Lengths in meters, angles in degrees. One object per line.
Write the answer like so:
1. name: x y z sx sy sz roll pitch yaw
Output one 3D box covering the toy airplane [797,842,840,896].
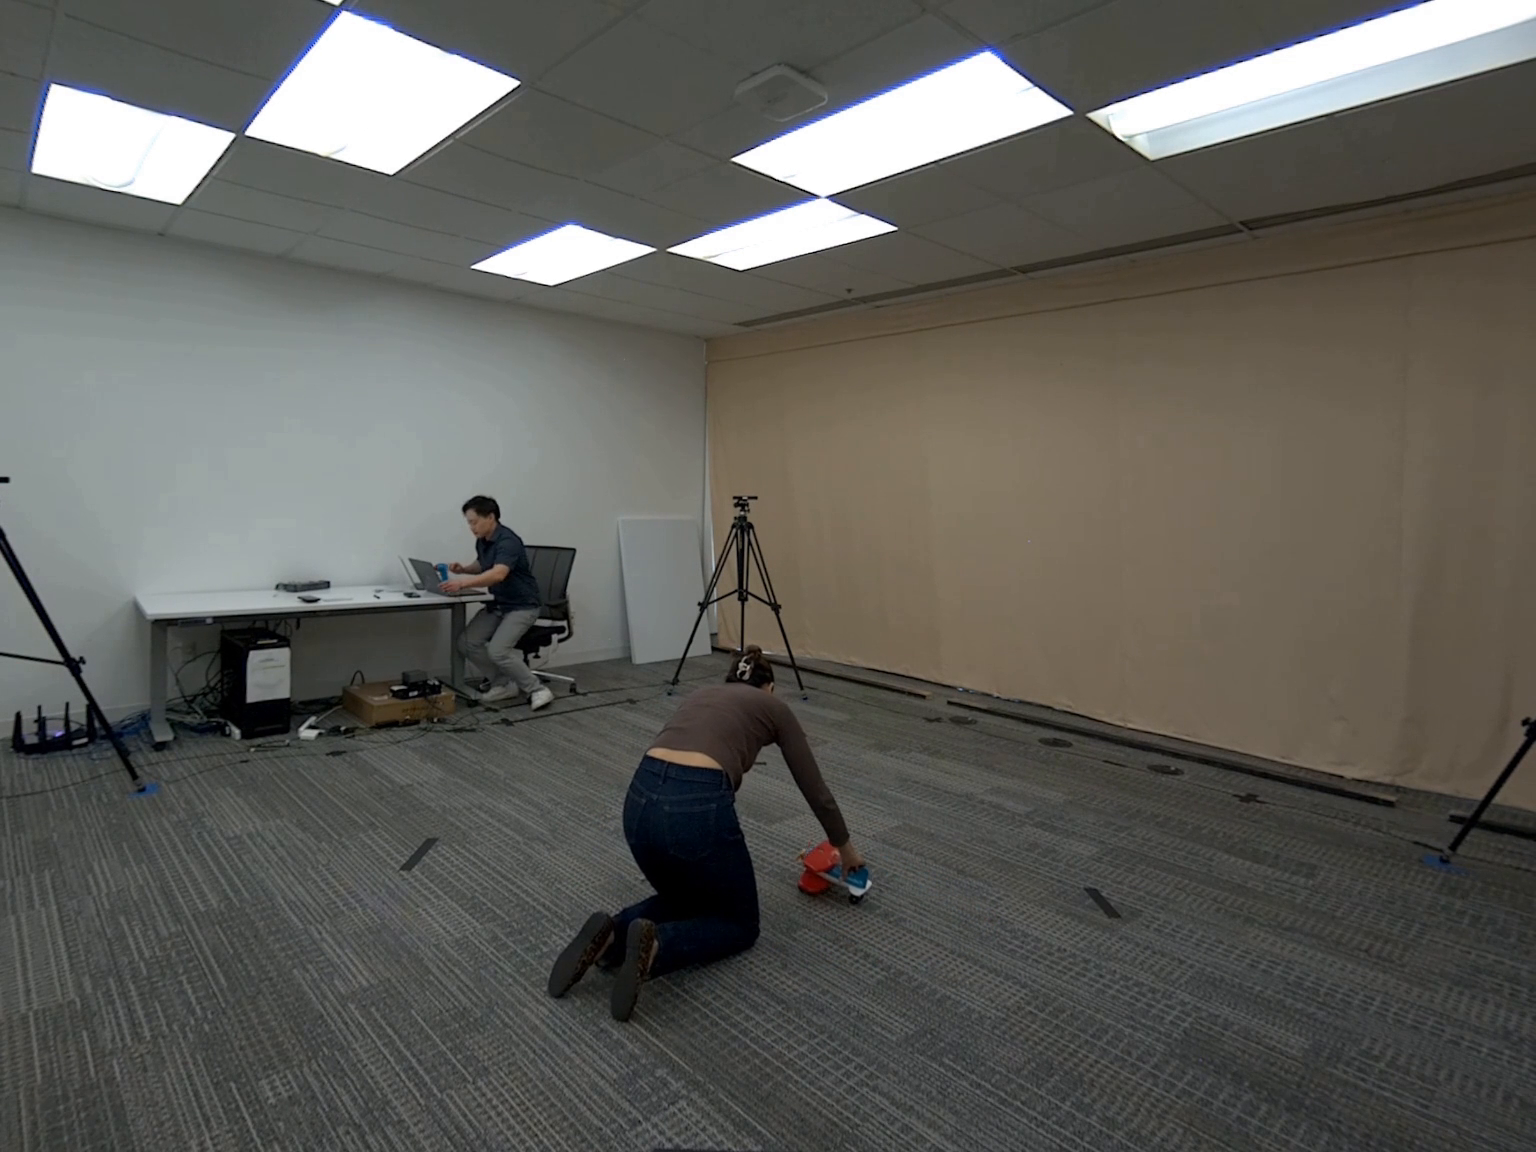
1. toy airplane: 0.233 1.049 2.978 0.260 0.156 0.251 1 5 3
